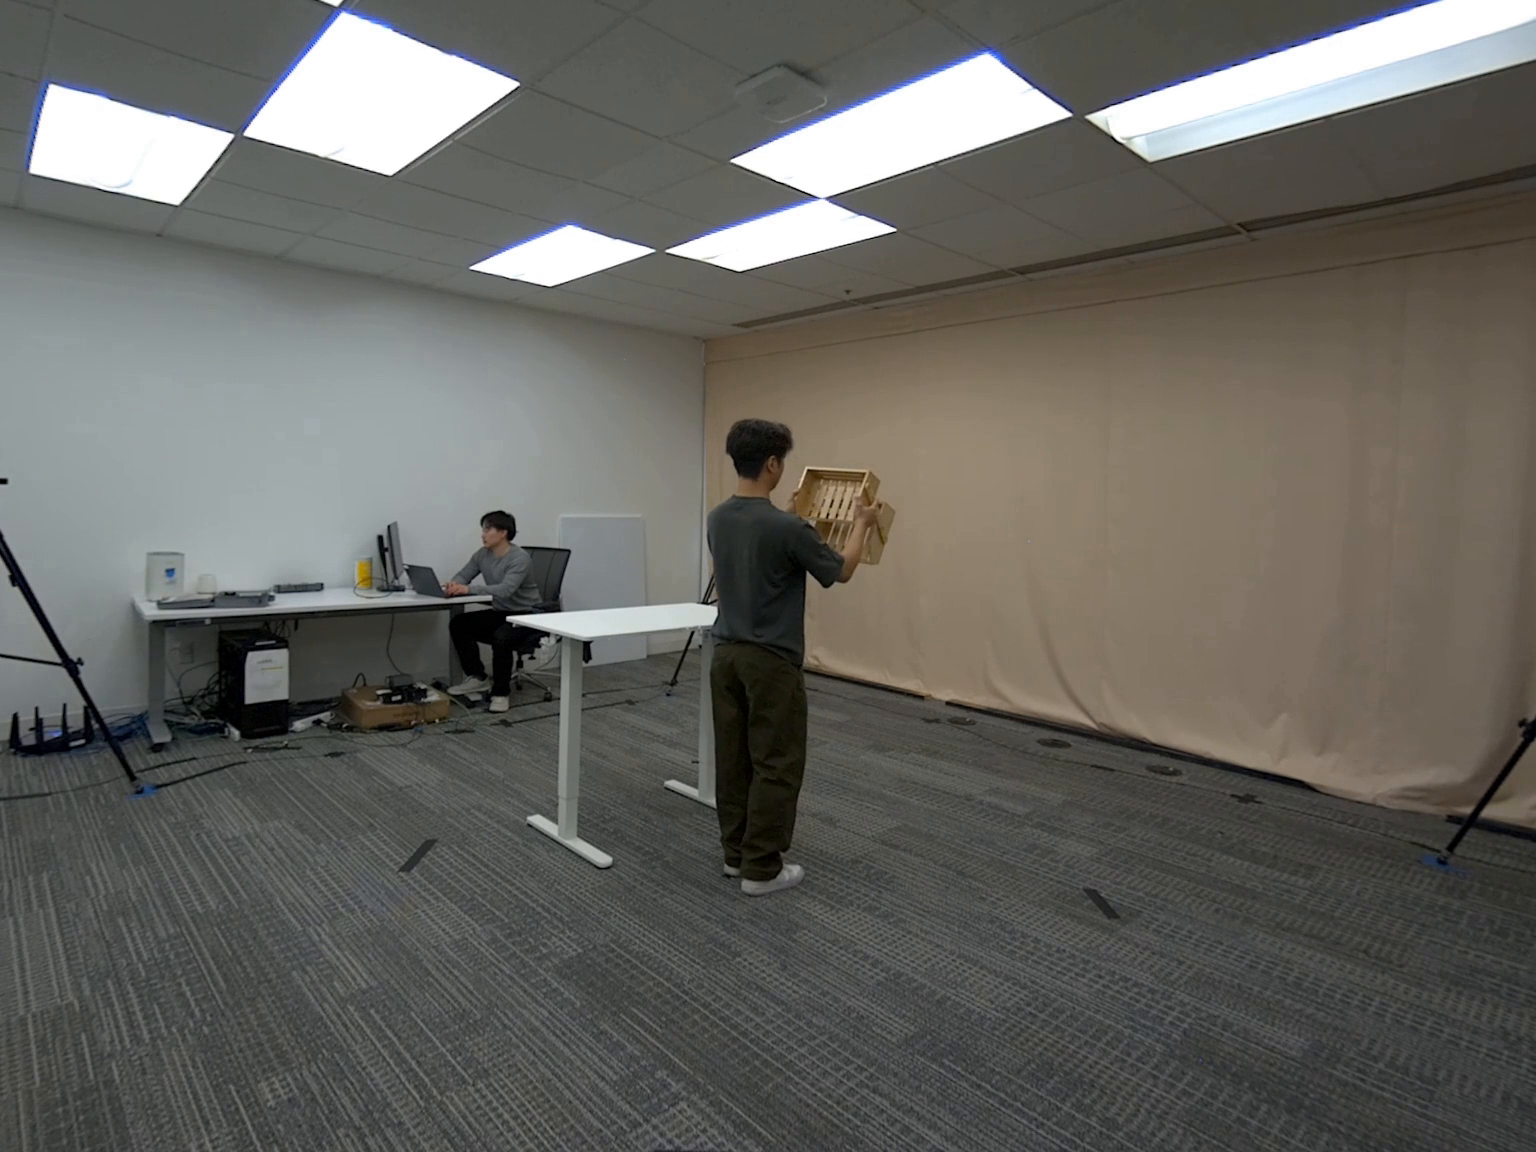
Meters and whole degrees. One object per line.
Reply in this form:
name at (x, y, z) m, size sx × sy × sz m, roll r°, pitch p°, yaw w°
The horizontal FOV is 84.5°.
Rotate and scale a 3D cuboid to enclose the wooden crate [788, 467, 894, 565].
wooden crate at (0.282, -0.232, 3.327) m, size 0.333 × 0.303 × 0.264 m, roll 9°, pitch -17°, yaw 41°
